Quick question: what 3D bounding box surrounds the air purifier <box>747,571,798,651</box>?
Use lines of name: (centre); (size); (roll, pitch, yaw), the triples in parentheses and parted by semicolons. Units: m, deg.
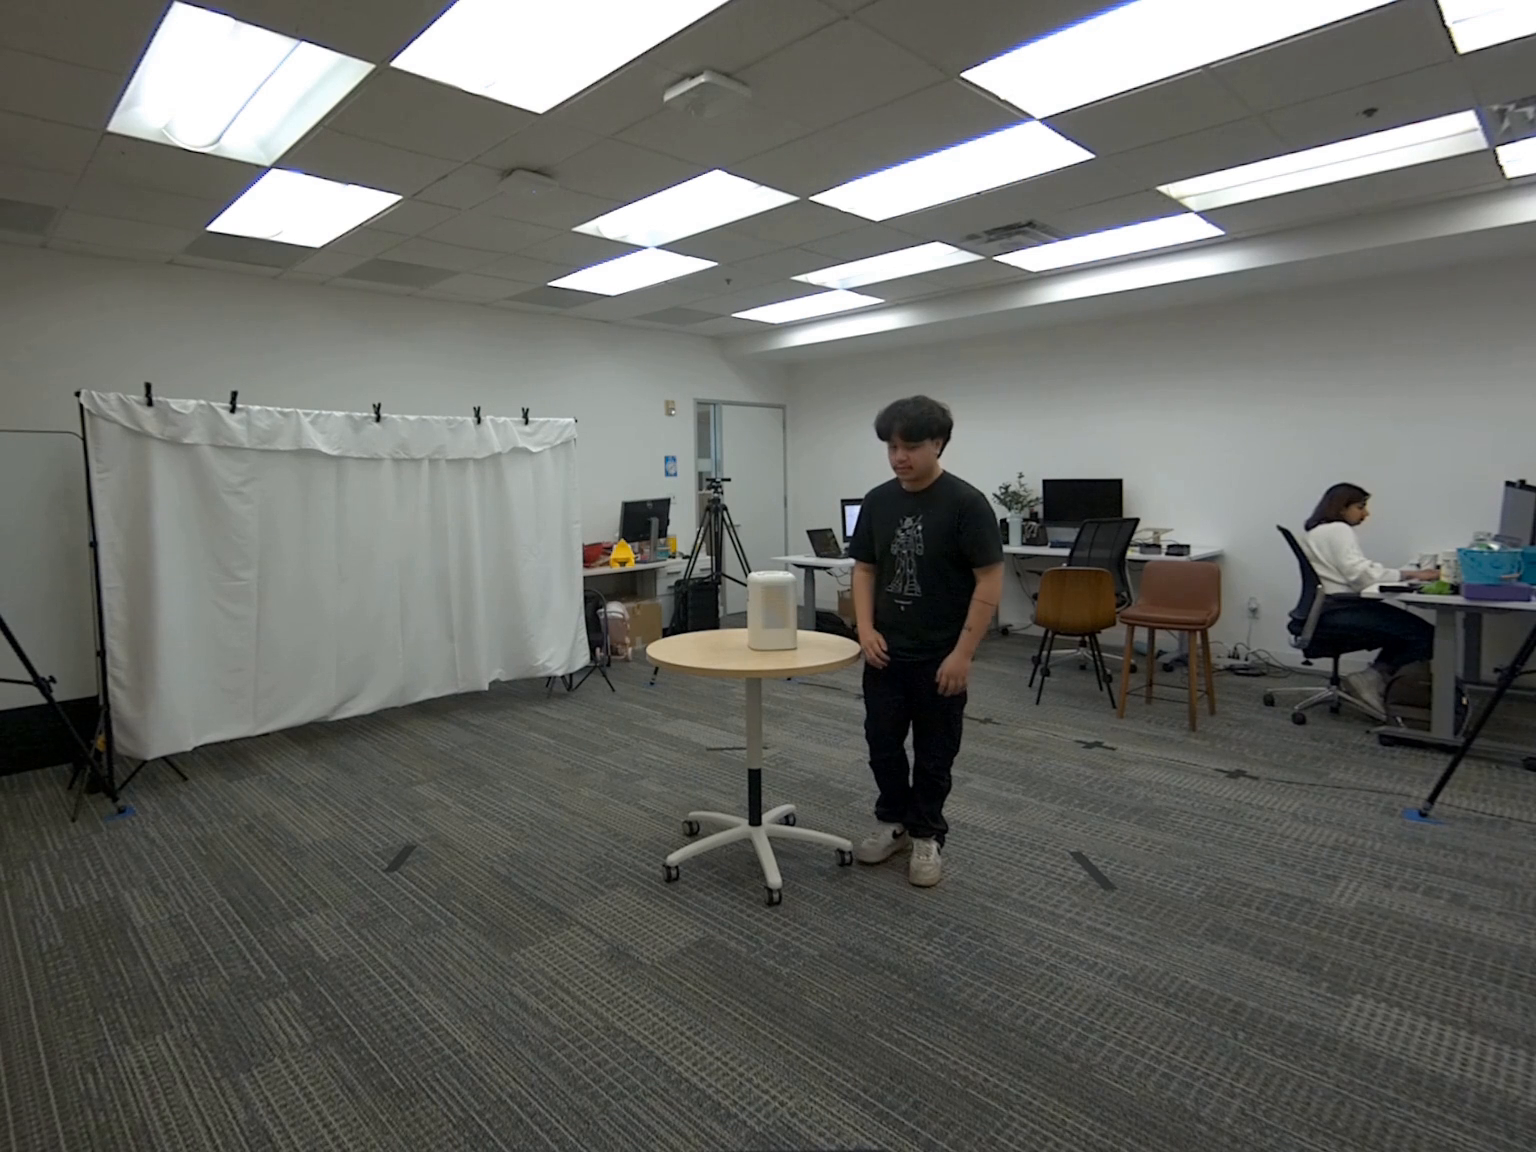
air purifier: (0.017, 0.117, 3.063); (0.171, 0.264, 0.172); (-2, 4, -4)
